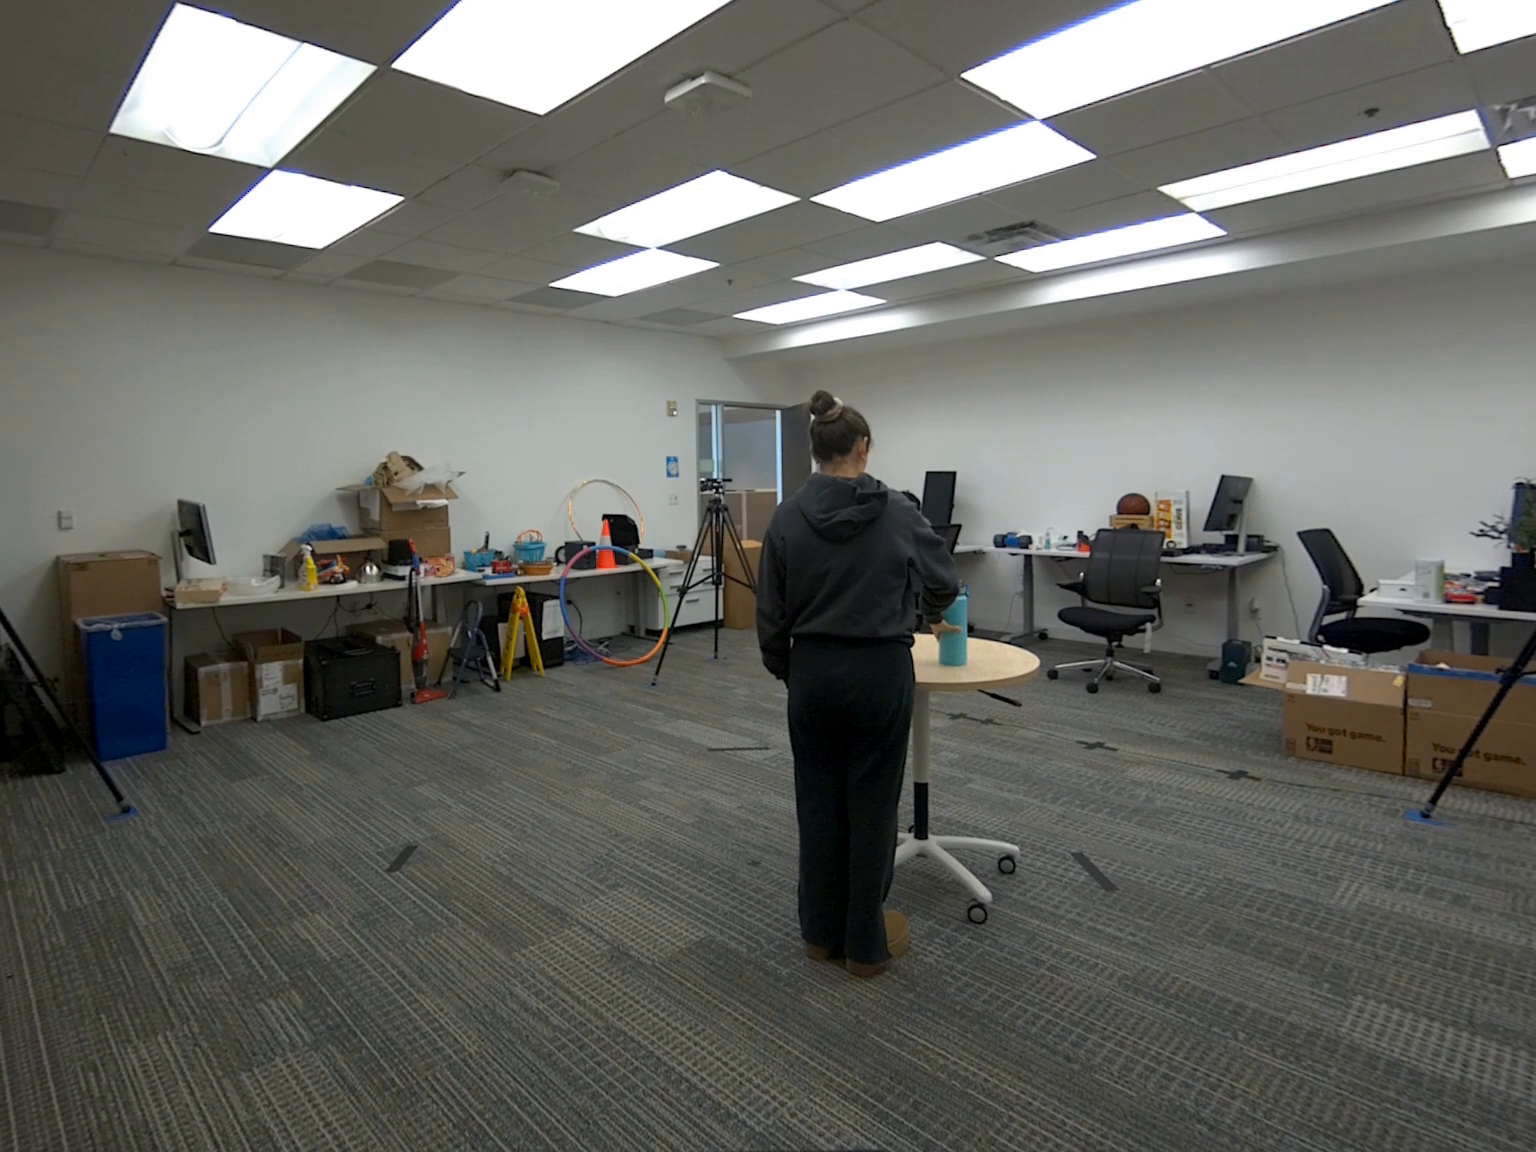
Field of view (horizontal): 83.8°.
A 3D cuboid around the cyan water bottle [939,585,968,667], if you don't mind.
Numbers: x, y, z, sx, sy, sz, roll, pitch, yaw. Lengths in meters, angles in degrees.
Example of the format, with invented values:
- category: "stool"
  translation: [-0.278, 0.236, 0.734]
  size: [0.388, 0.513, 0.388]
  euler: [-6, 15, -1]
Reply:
- category: "cyan water bottle"
  translation: [0.612, 0.147, 2.785]
  size: [0.092, 0.282, 0.093]
  euler: [0, 6, -2]
